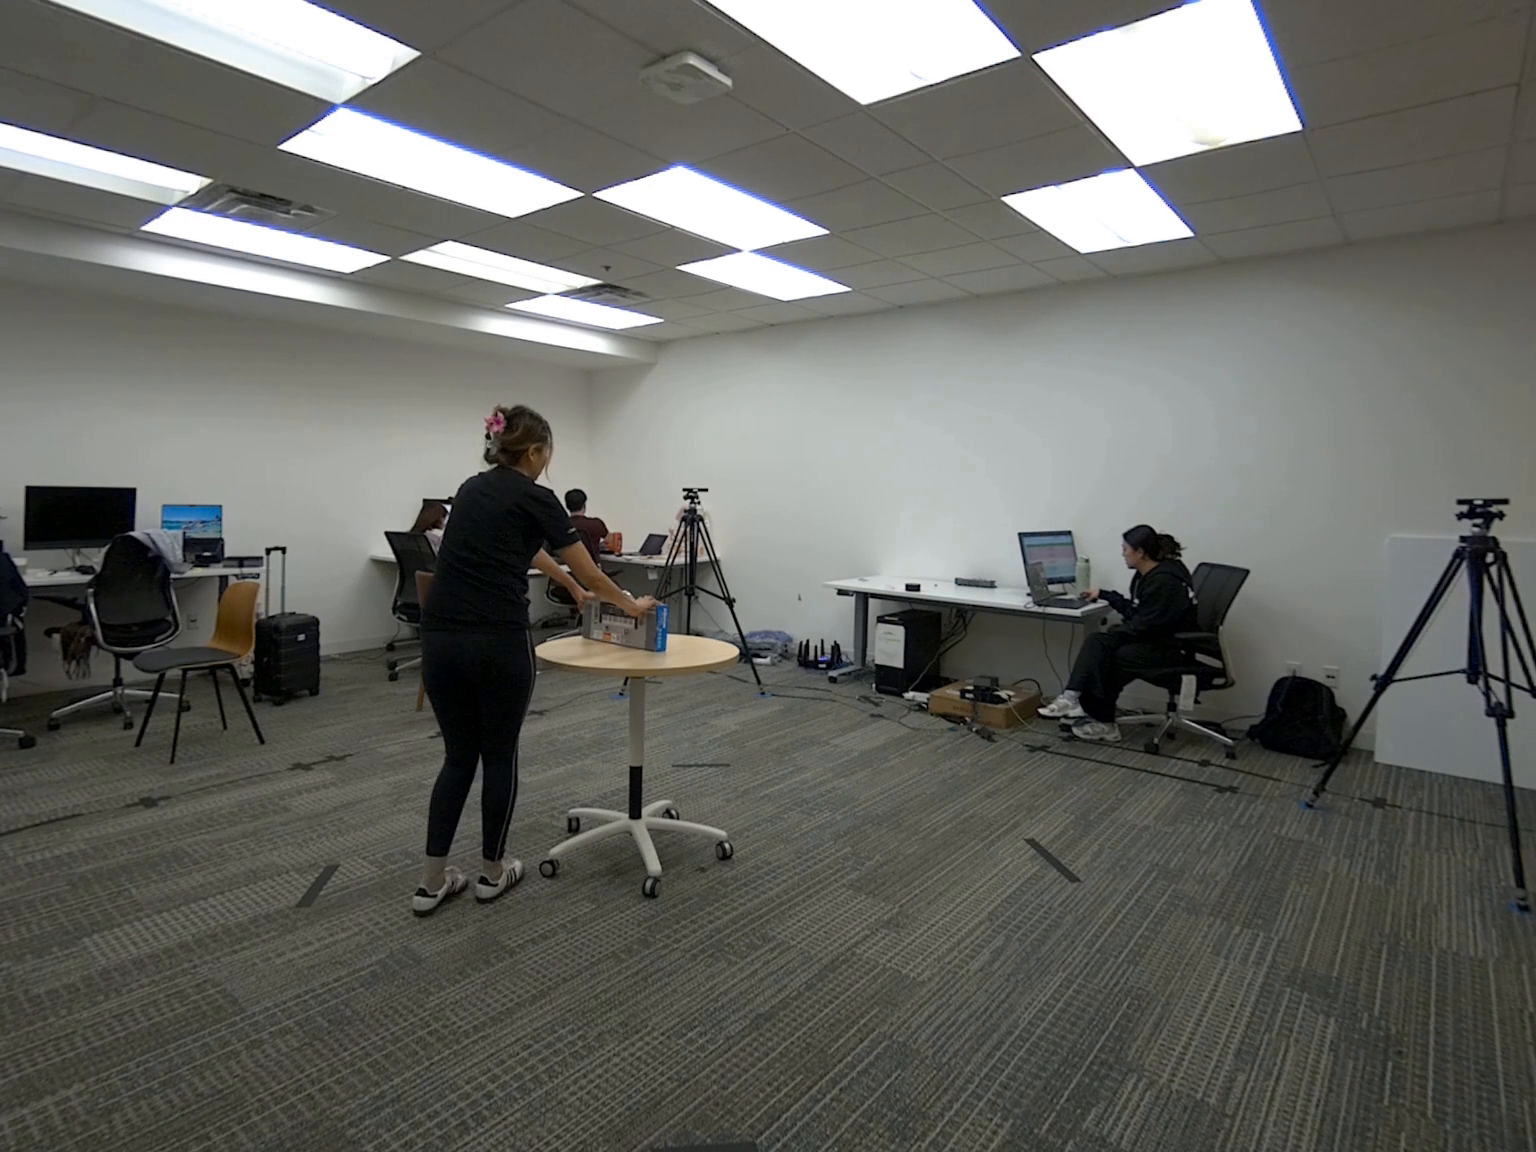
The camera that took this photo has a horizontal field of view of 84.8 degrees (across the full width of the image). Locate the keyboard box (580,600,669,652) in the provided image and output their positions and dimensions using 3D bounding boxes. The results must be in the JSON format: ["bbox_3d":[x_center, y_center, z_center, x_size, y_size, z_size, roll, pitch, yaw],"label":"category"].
[{"bbox_3d":[-0.569,0.177,3.298,0.452,0.176,0.057,5,2,41],"label":"keyboard box"}]
